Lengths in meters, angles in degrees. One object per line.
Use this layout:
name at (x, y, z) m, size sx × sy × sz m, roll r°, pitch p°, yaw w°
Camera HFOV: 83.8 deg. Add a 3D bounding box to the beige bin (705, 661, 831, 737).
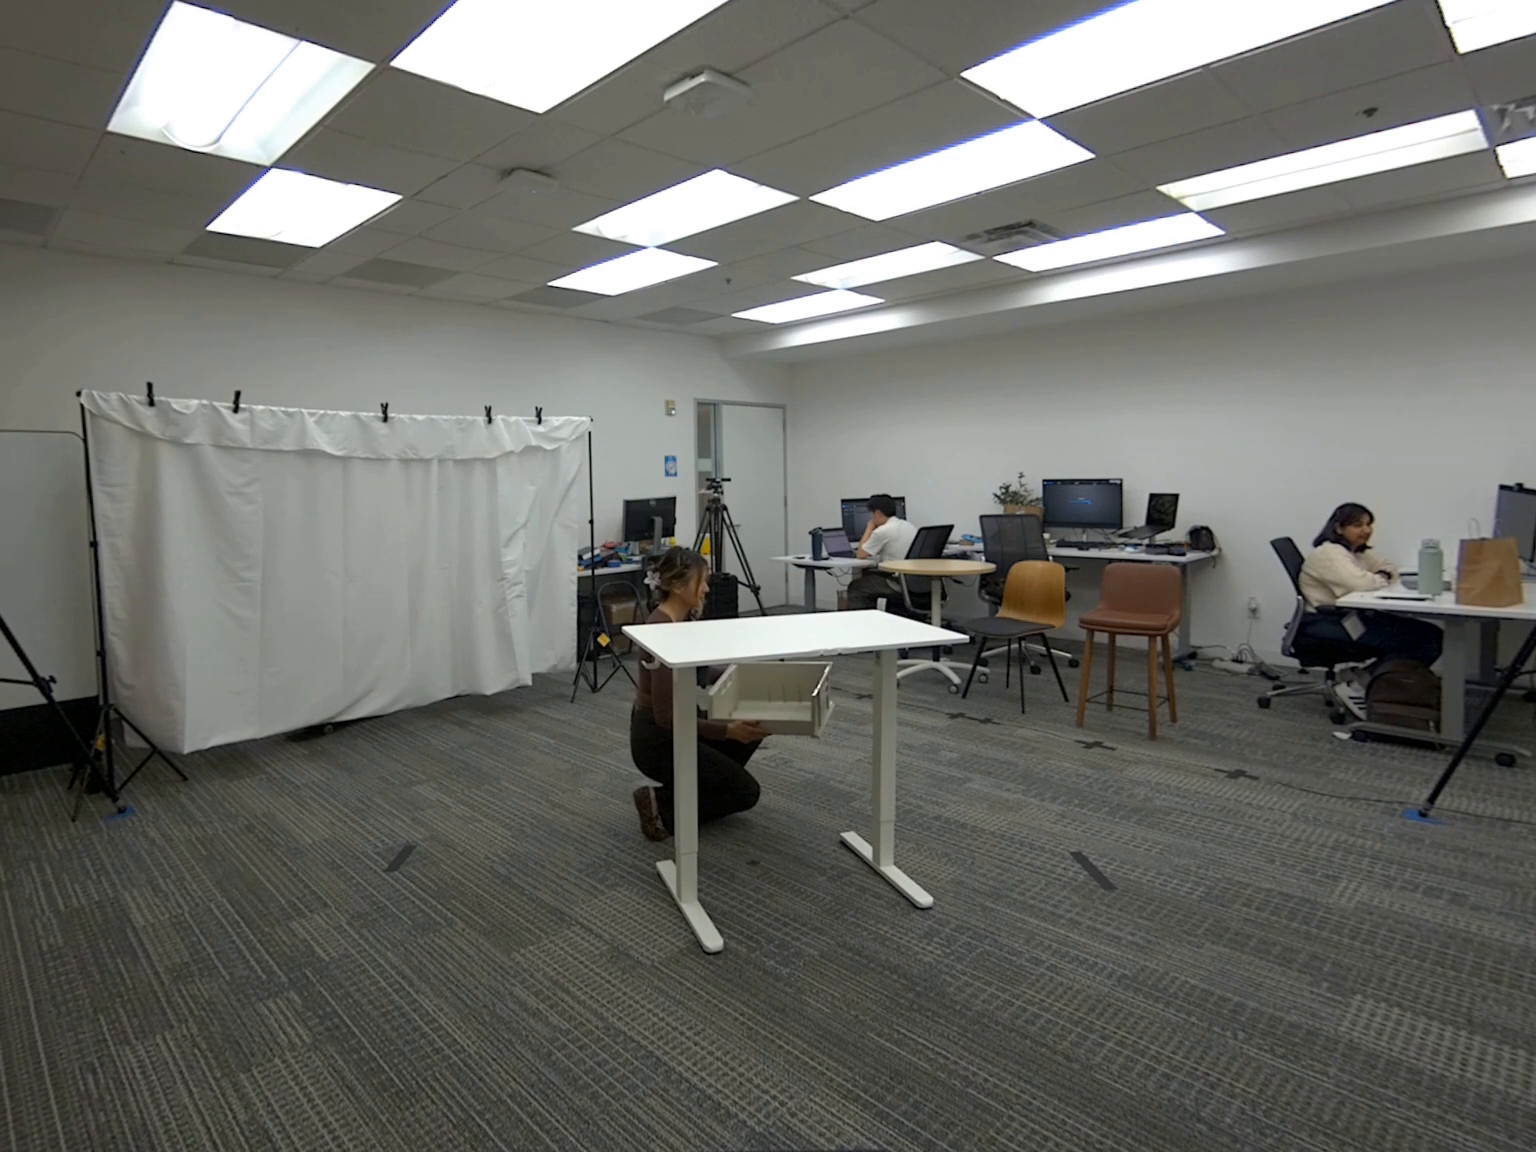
beige bin at (0.023, 0.492, 3.348) m, size 0.429 × 0.187 × 0.375 m, roll -2°, pitch 12°, yaw 17°
